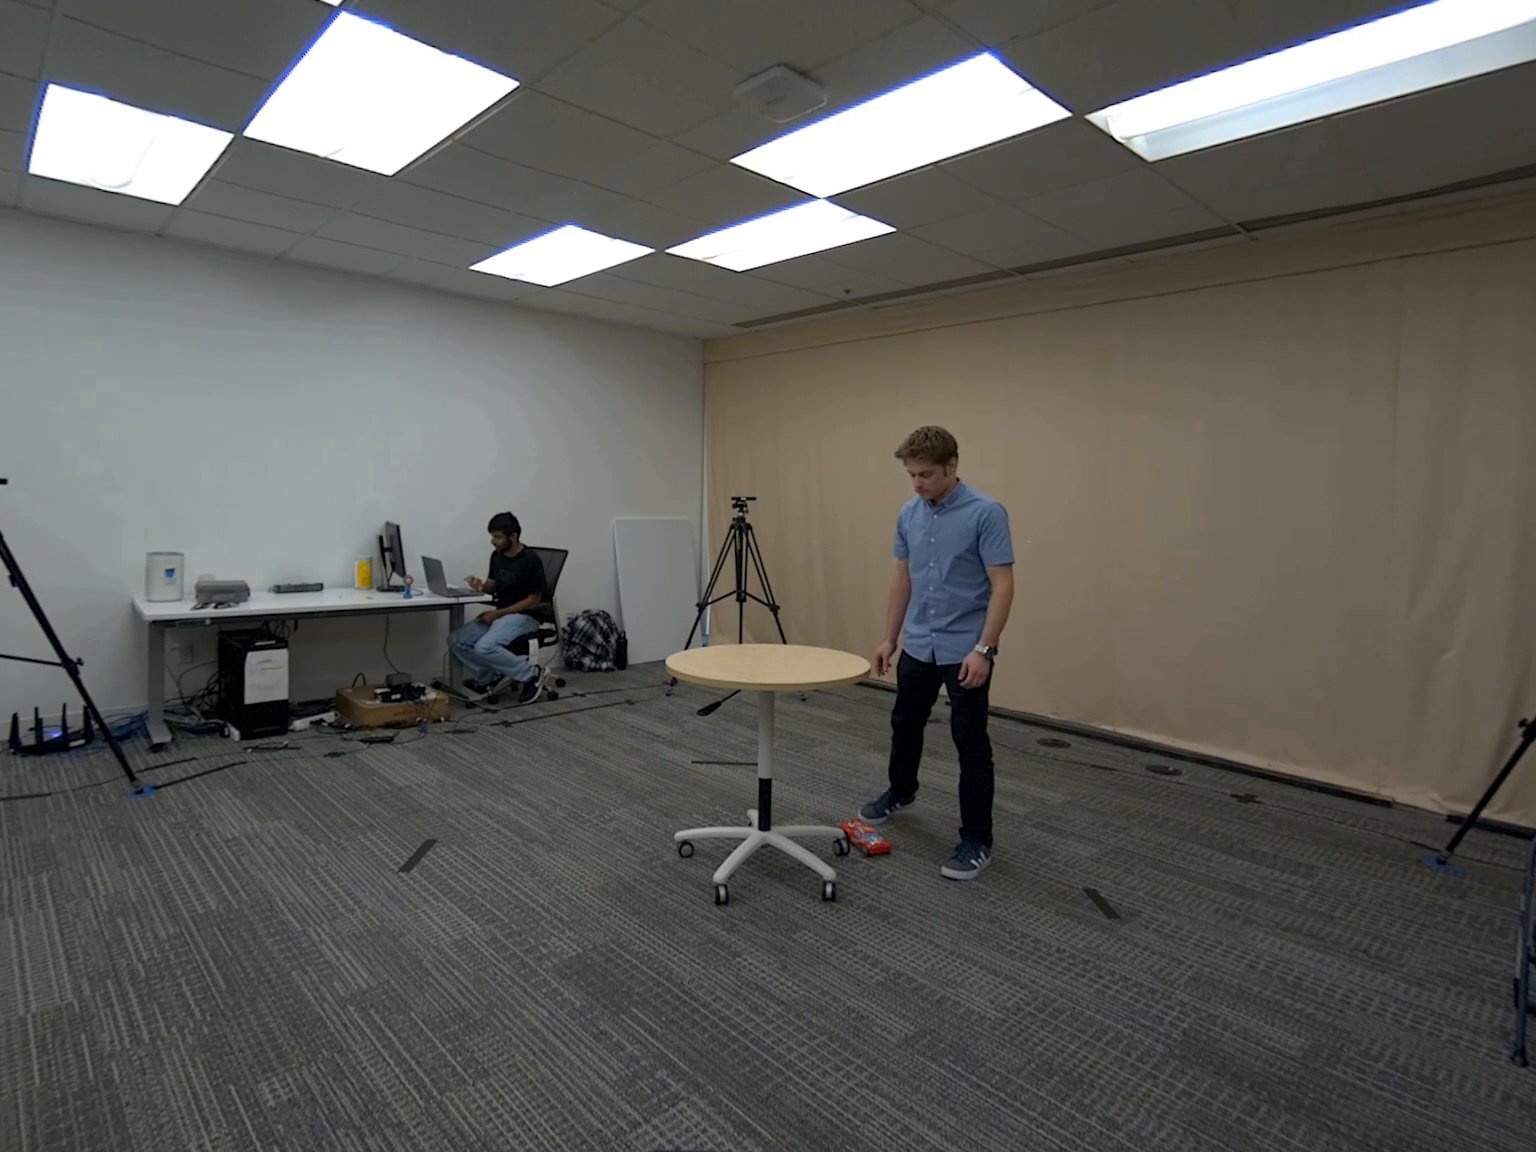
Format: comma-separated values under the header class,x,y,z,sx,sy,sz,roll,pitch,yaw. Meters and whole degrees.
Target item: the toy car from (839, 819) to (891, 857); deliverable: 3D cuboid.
class,x,y,z,sx,sy,sz,roll,pitch,yaw
toy car,0.384,1.063,3.417,0.128,0.082,0.261,0,16,-24
